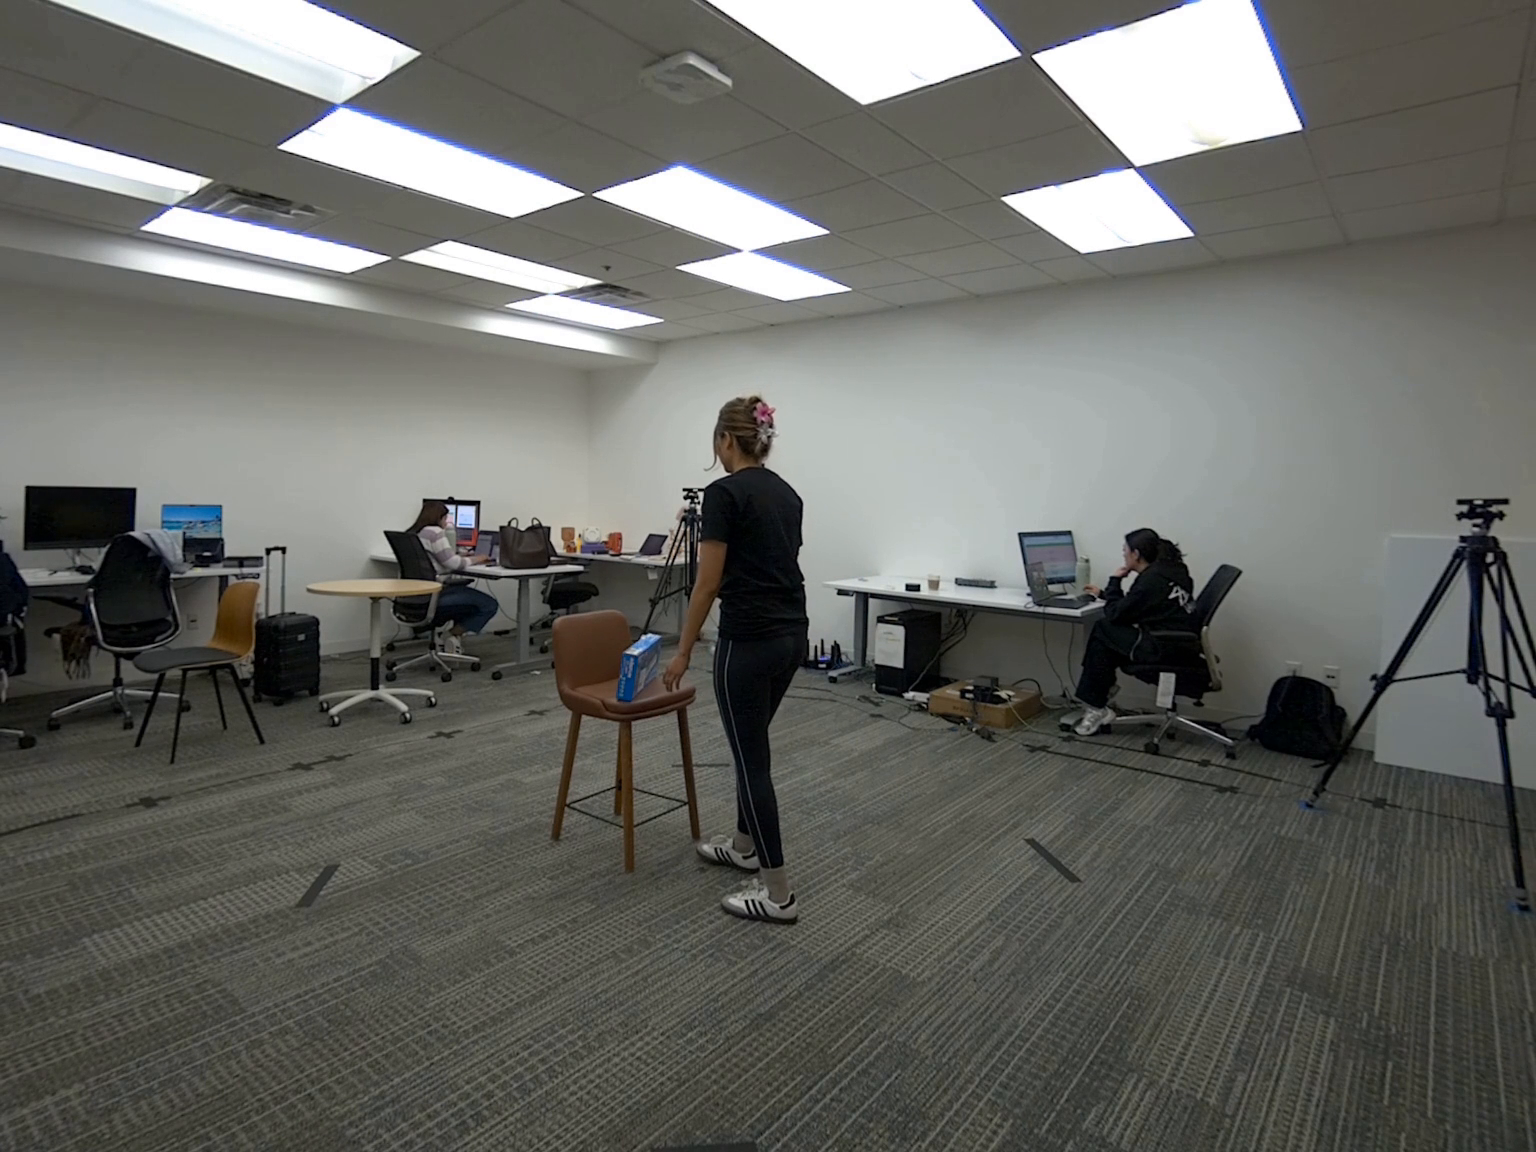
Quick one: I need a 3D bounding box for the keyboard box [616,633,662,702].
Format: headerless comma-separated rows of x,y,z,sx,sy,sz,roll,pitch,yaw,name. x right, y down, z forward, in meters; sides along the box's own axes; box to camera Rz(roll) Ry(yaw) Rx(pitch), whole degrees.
-0.505,0.341,3.303,0.059,0.175,0.435,7,5,4,keyboard box
